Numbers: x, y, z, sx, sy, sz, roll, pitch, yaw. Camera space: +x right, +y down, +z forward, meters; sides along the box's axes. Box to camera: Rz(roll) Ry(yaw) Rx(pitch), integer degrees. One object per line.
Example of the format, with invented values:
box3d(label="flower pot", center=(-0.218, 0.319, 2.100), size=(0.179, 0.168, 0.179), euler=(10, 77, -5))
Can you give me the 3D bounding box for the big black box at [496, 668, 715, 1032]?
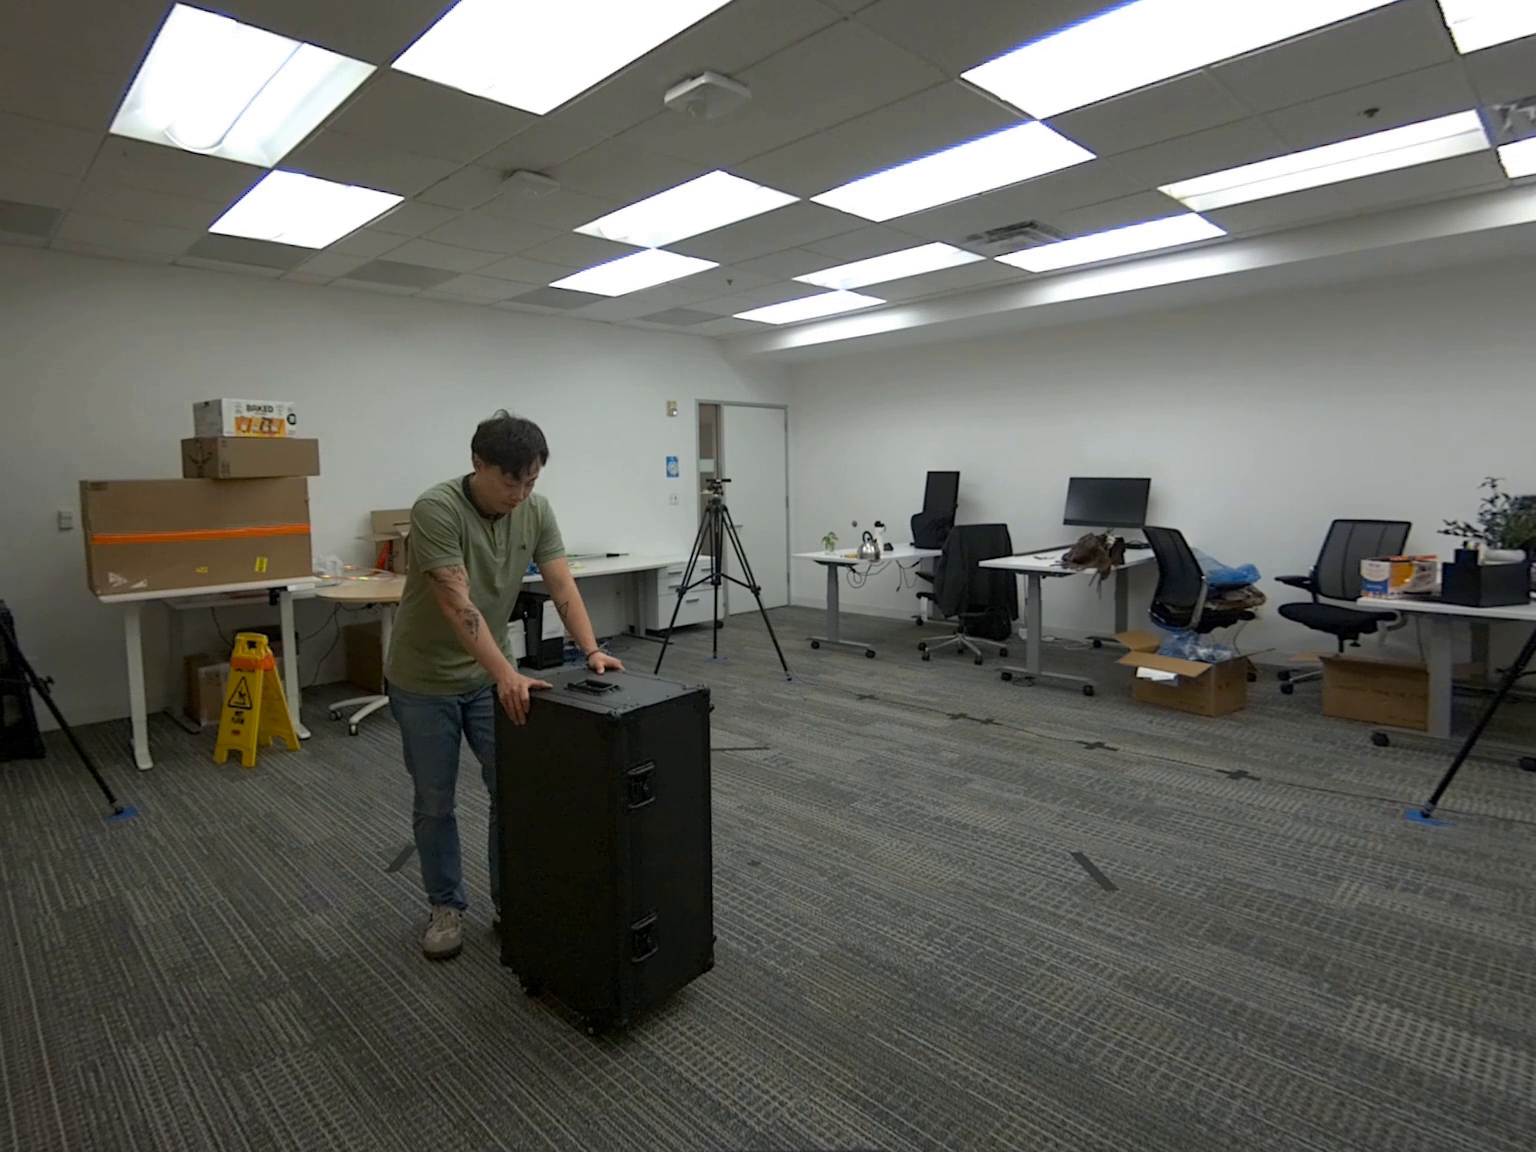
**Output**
box3d(label="big black box", center=(-0.437, 0.722, 2.329), size=(0.537, 0.859, 0.386), euler=(3, 5, 38))
